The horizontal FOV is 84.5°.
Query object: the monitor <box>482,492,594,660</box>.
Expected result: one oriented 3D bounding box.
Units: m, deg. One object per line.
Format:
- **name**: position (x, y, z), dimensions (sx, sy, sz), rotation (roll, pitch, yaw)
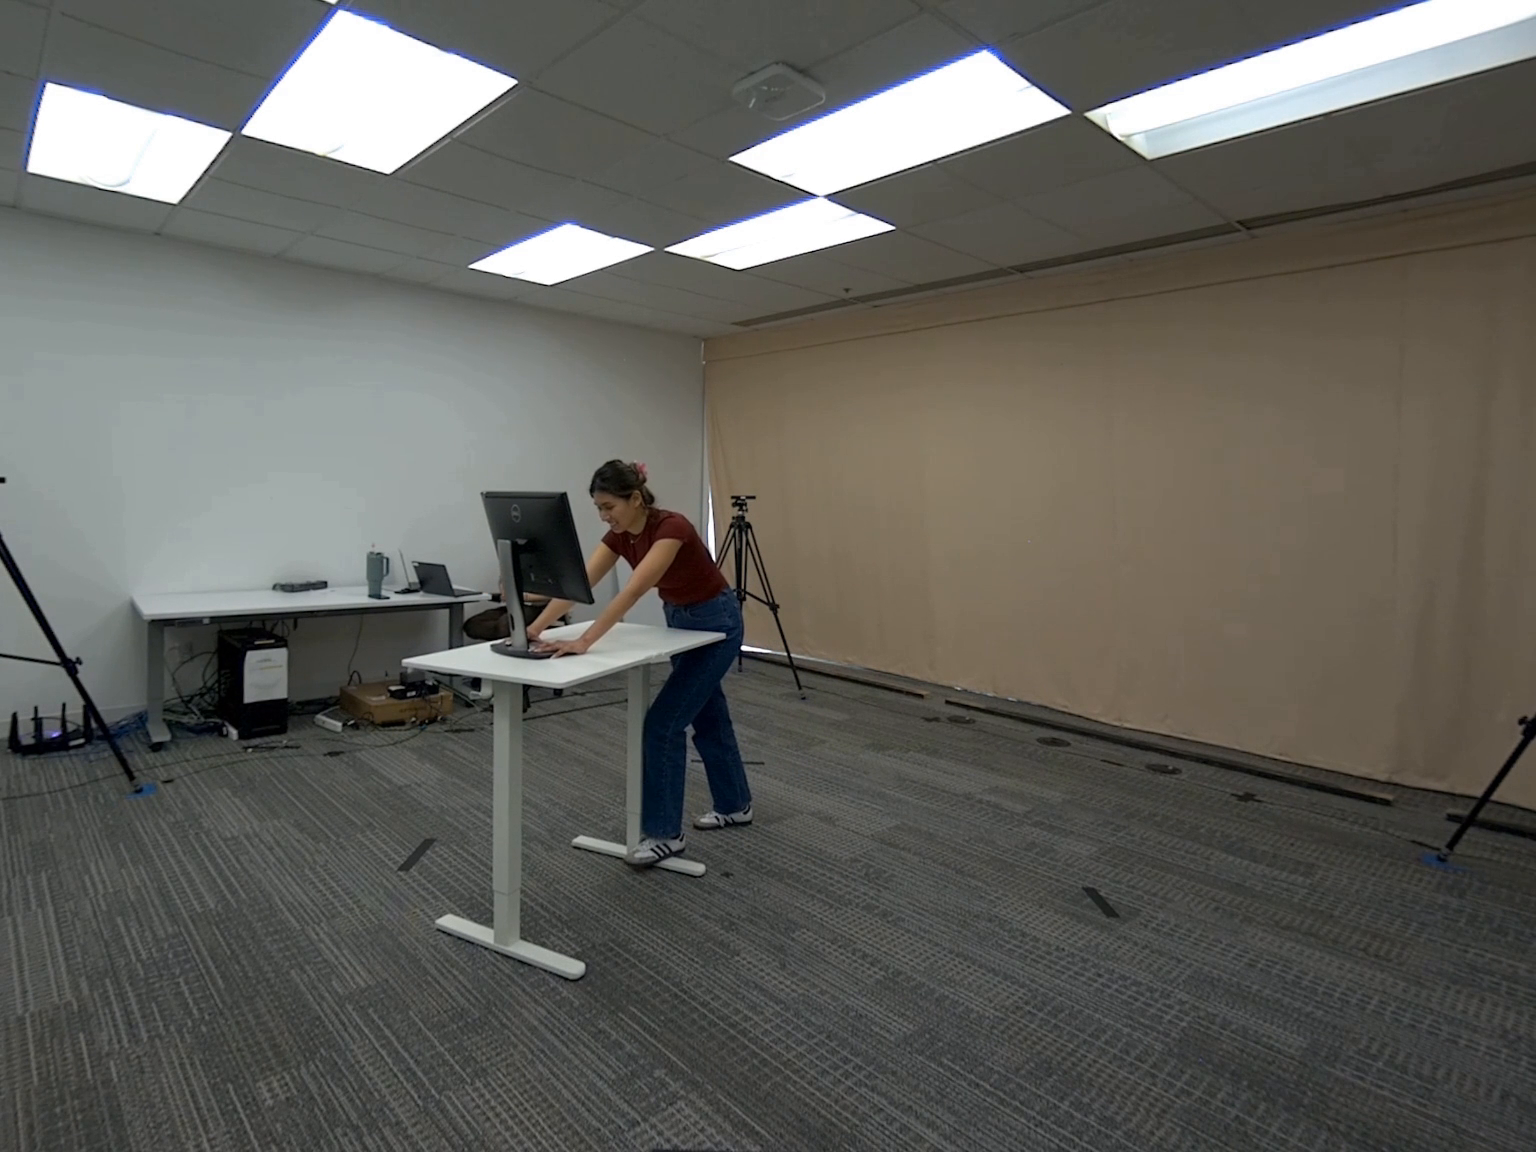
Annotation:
- **monitor**: position (-0.773, -0.007, 2.680), dimensions (0.552, 0.521, 0.183), rotation (3, 6, 41)
